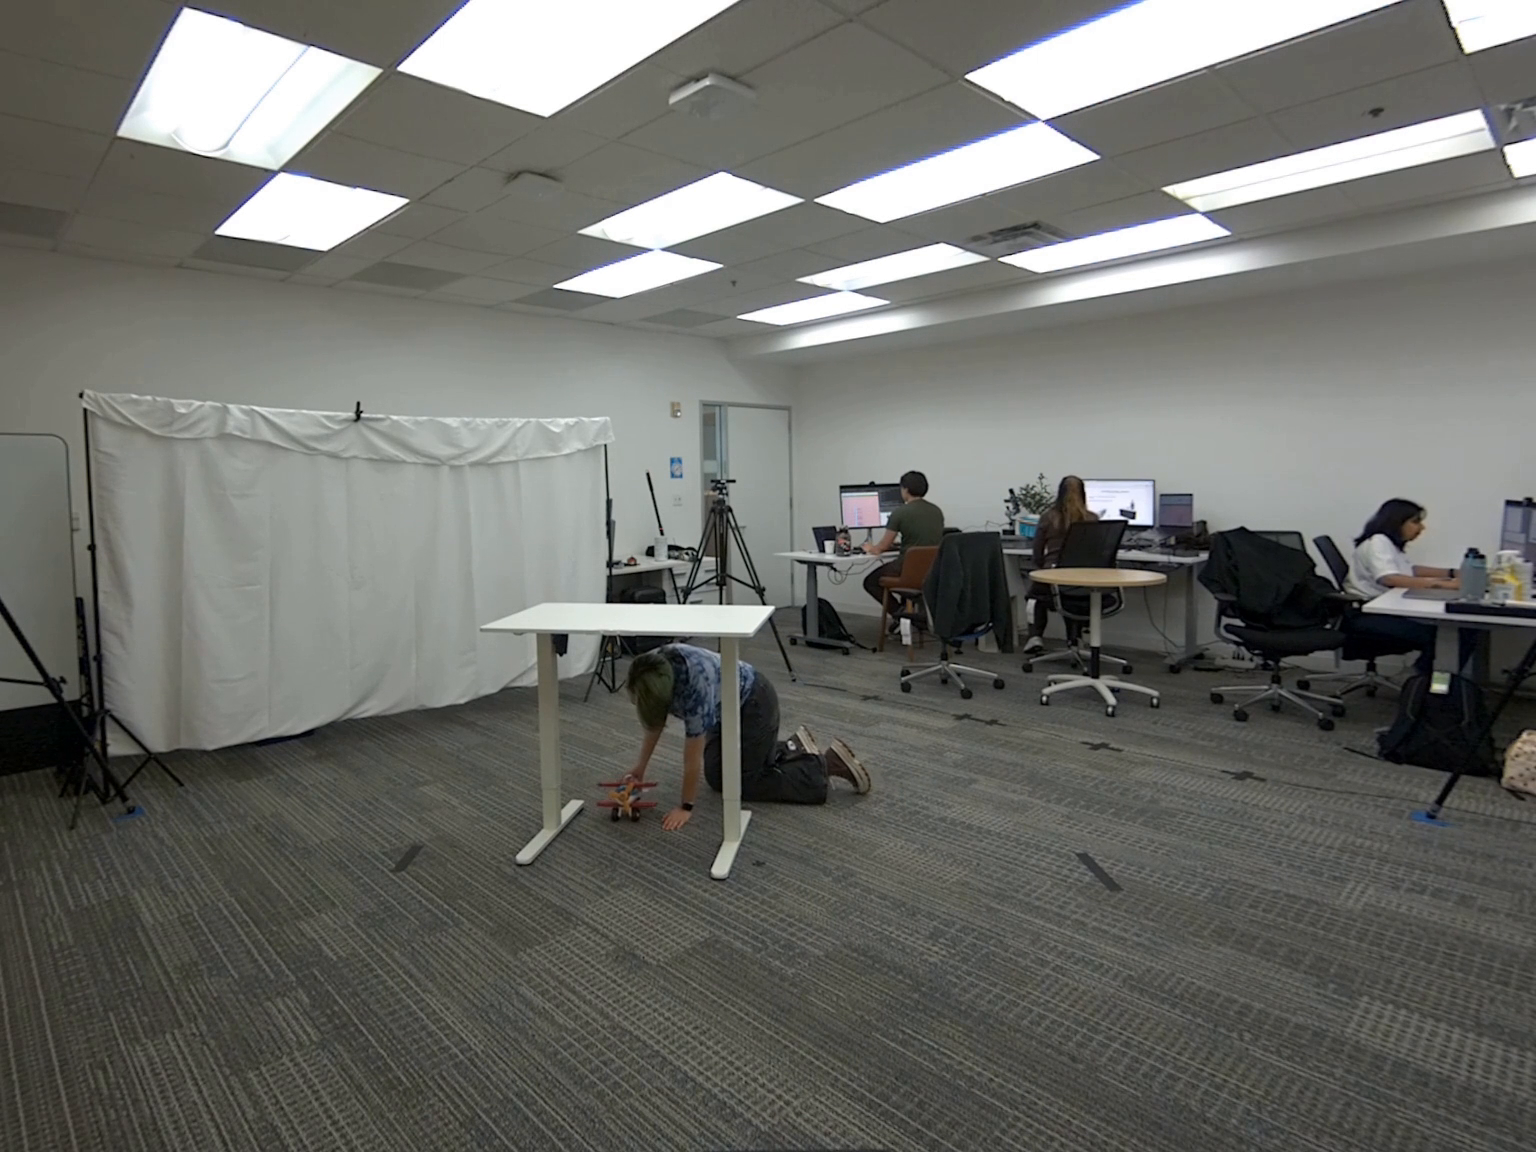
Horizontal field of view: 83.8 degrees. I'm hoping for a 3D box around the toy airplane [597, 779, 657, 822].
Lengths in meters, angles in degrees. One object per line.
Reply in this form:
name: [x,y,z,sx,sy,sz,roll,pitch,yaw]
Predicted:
toy airplane: [-0.607,0.935,3.613,0.246,0.156,0.265,-4,7,-23]
